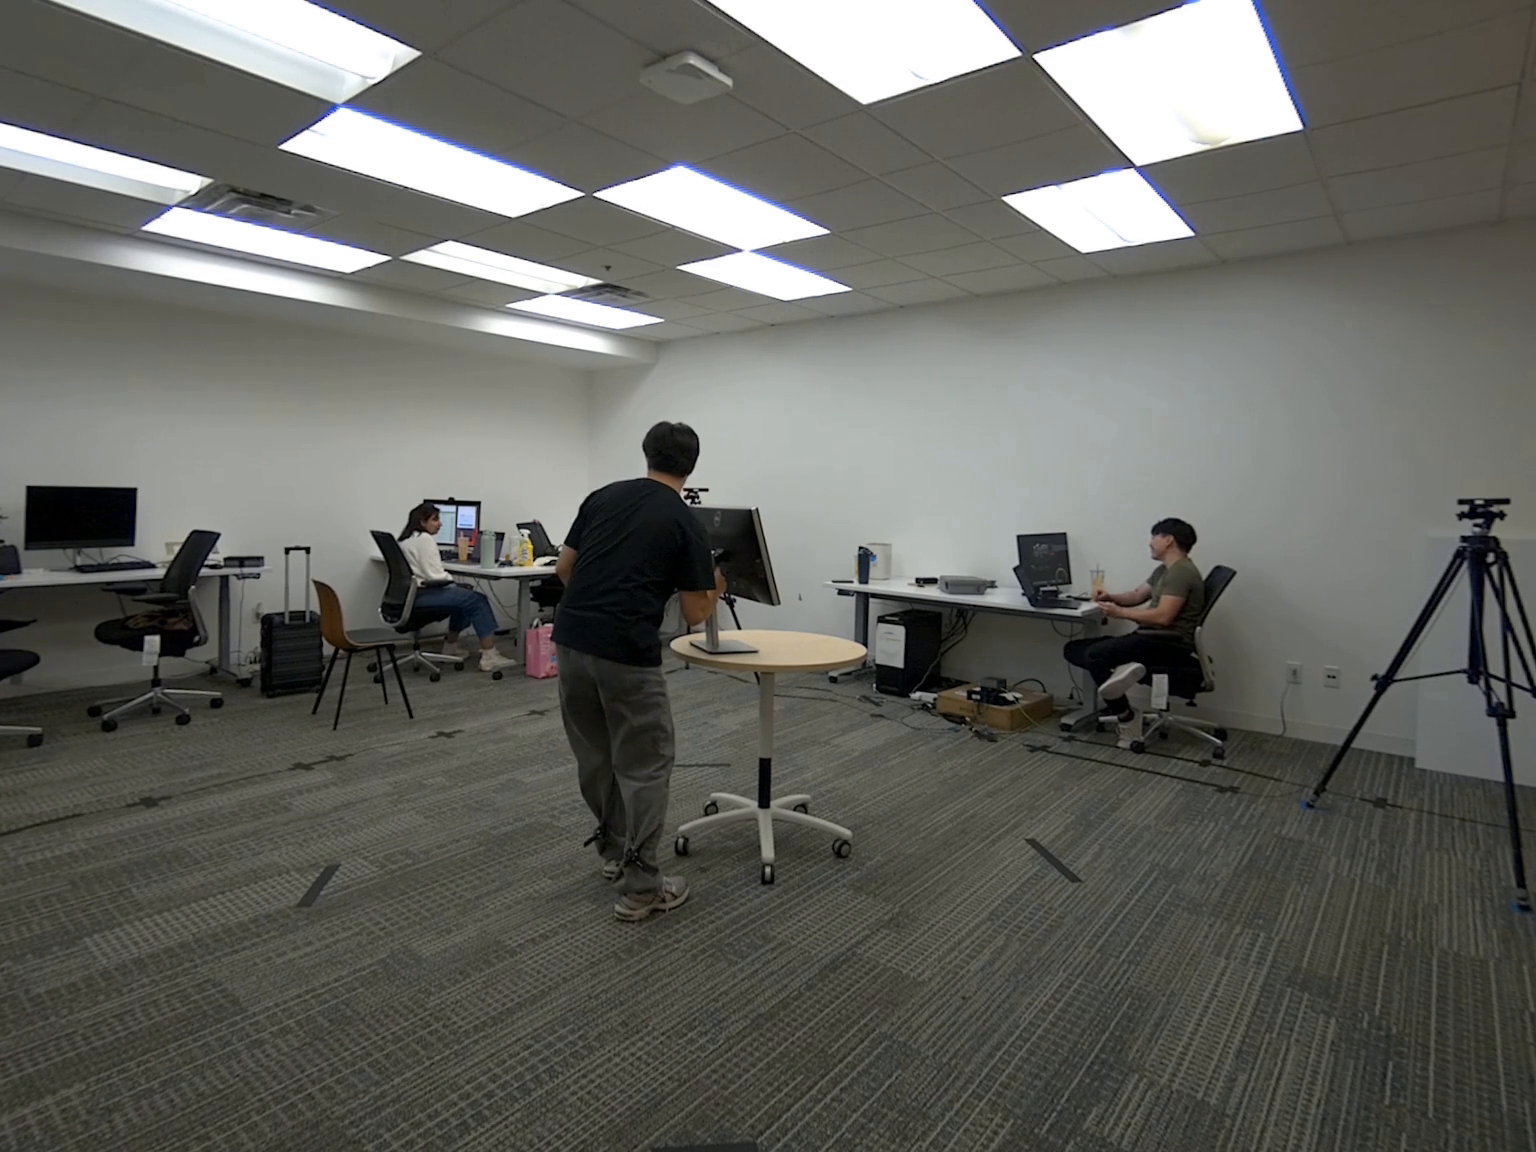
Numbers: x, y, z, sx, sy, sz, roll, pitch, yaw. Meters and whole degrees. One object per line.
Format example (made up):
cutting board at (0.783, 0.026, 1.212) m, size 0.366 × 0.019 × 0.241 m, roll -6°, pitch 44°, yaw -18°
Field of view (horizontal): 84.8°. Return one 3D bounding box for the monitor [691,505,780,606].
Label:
monitor at (-0.168, 0.012, 3.245) m, size 0.217 × 0.564 × 0.576 m, roll 1°, pitch 4°, yaw -24°
